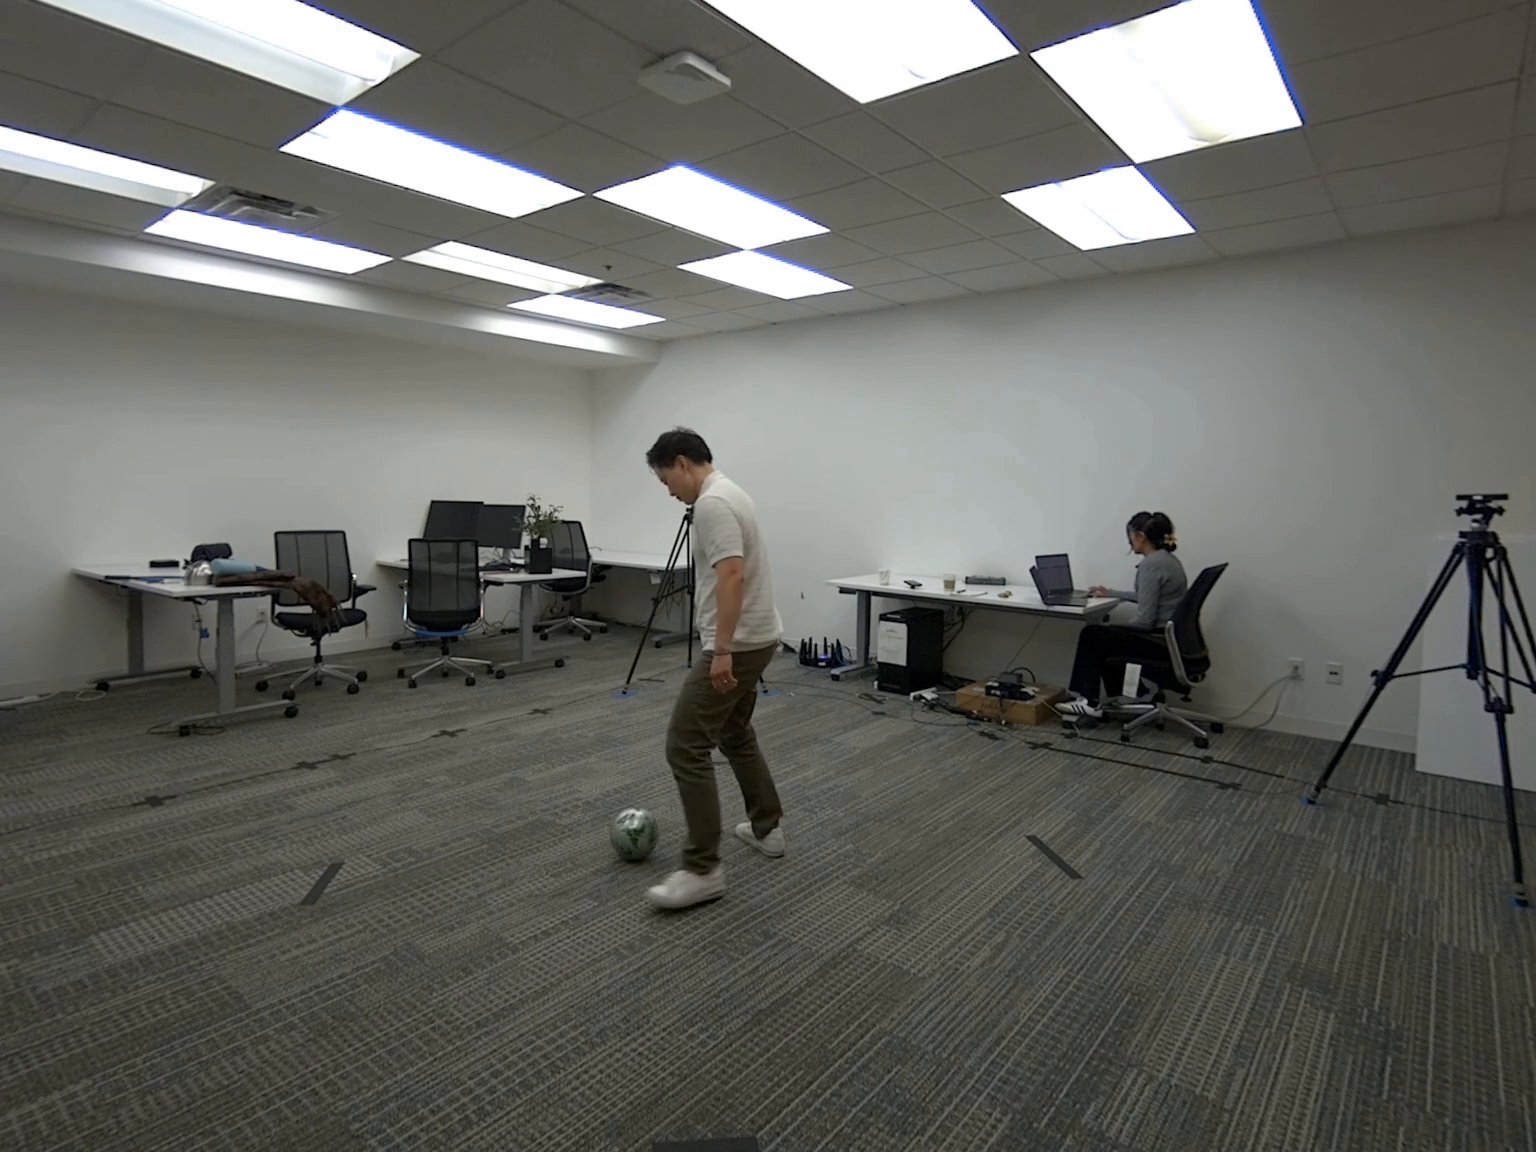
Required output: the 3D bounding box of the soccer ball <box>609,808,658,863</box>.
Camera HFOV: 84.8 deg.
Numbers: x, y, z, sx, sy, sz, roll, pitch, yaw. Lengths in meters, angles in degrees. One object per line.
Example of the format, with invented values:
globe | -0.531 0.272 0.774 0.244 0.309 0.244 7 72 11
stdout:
soccer ball | -0.503 0.958 3.186 0.187 0.187 0.188 0 4 -2
